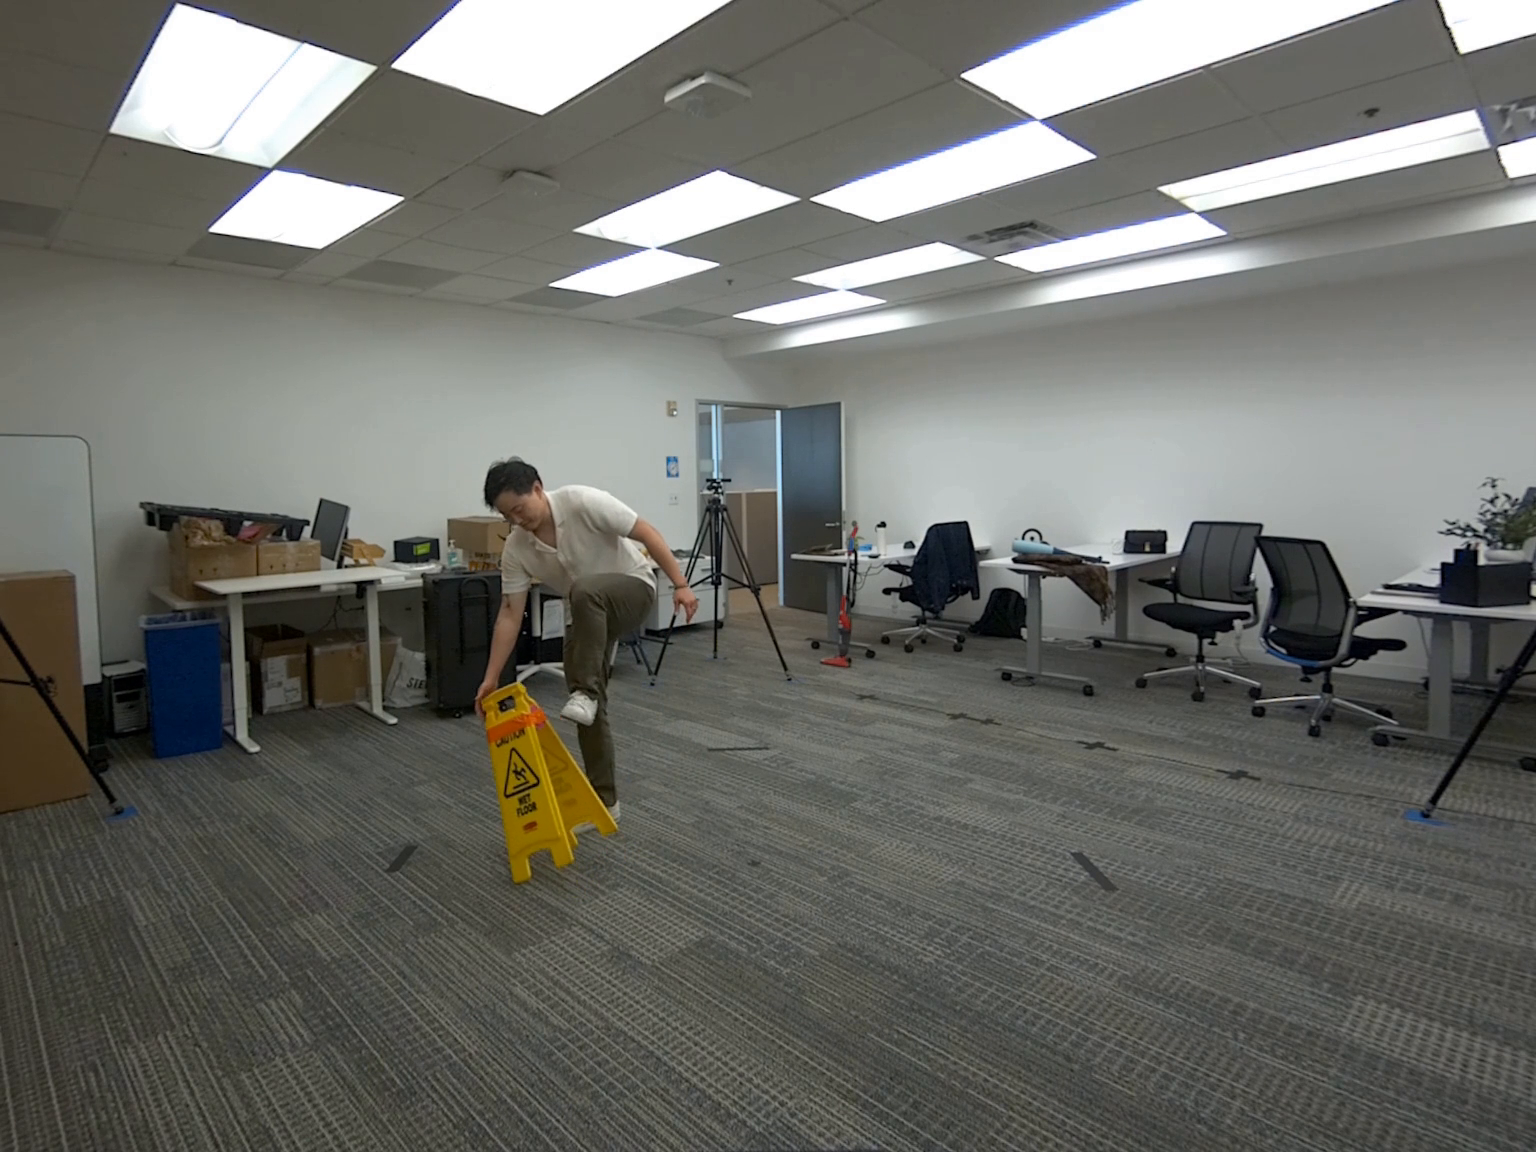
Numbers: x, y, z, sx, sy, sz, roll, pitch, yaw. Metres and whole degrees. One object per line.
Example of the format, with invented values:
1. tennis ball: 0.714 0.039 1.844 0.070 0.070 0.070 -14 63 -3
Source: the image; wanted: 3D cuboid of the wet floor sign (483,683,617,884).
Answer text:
1. wet floor sign: -0.850 0.716 3.106 0.285 0.651 0.285 -28 -7 23
